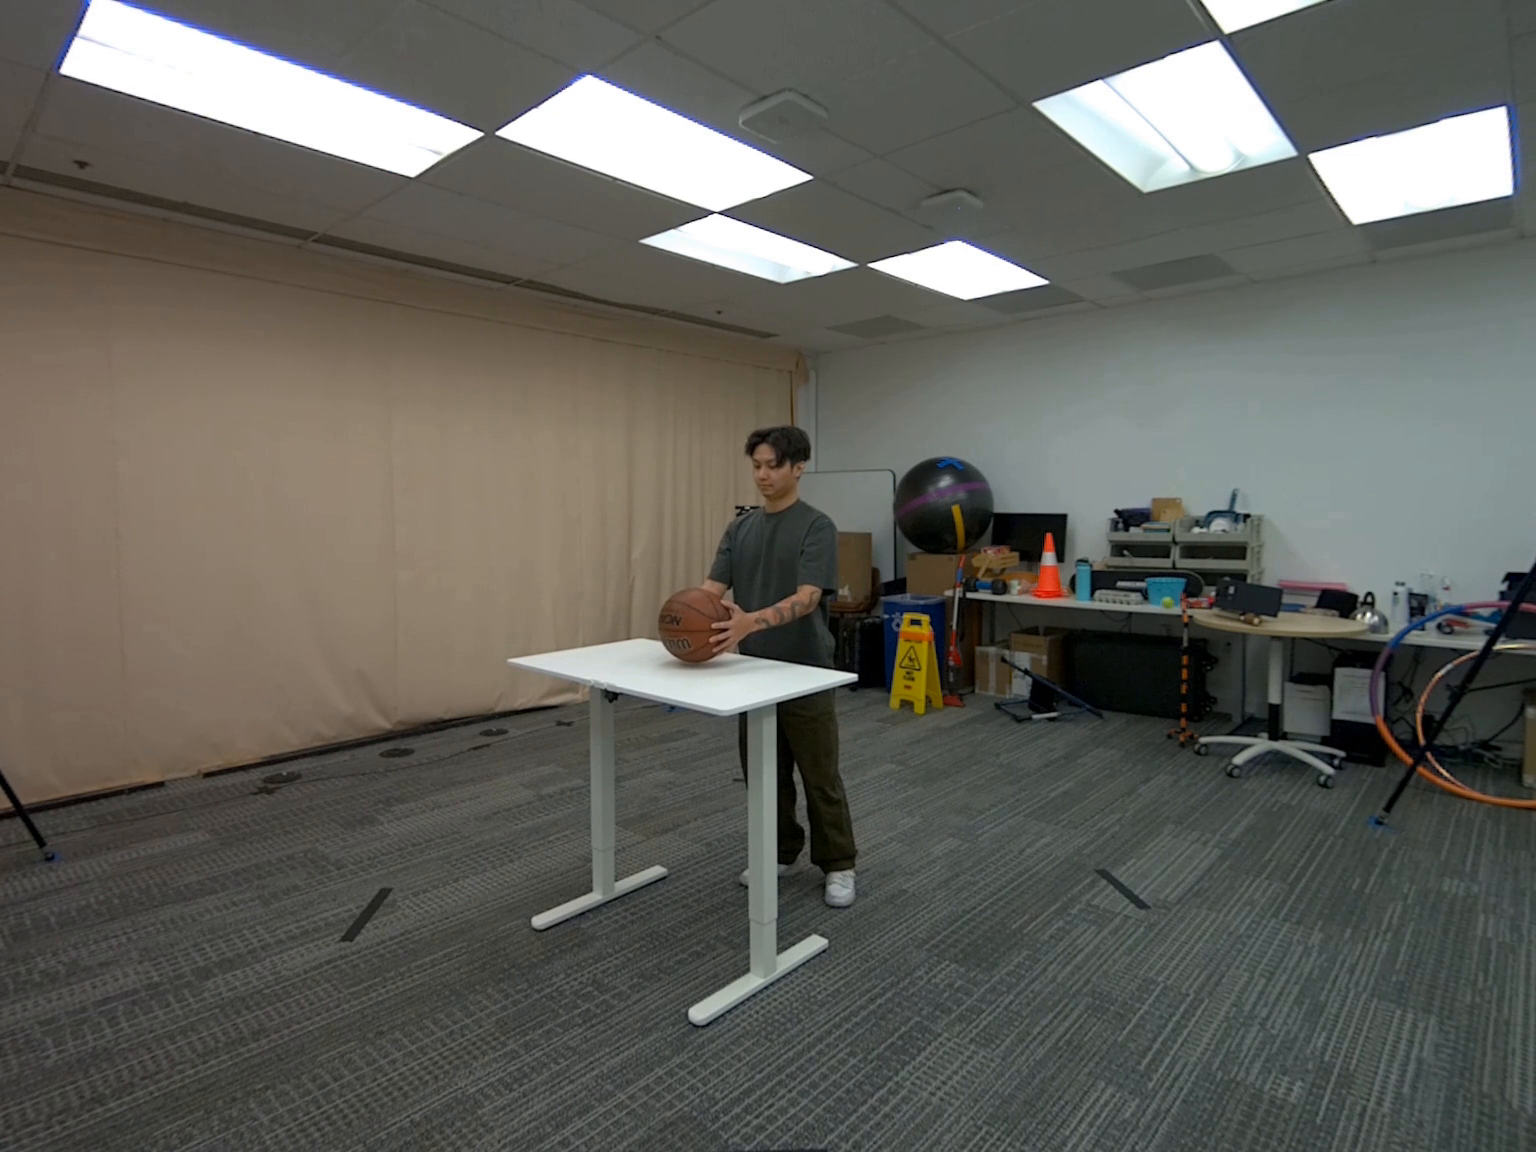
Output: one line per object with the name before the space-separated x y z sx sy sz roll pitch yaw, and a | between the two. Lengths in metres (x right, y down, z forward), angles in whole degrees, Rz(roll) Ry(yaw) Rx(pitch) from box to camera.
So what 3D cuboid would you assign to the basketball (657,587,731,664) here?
basketball | -0.232 0.156 2.697 0.236 0.235 0.237 0 4 -2
